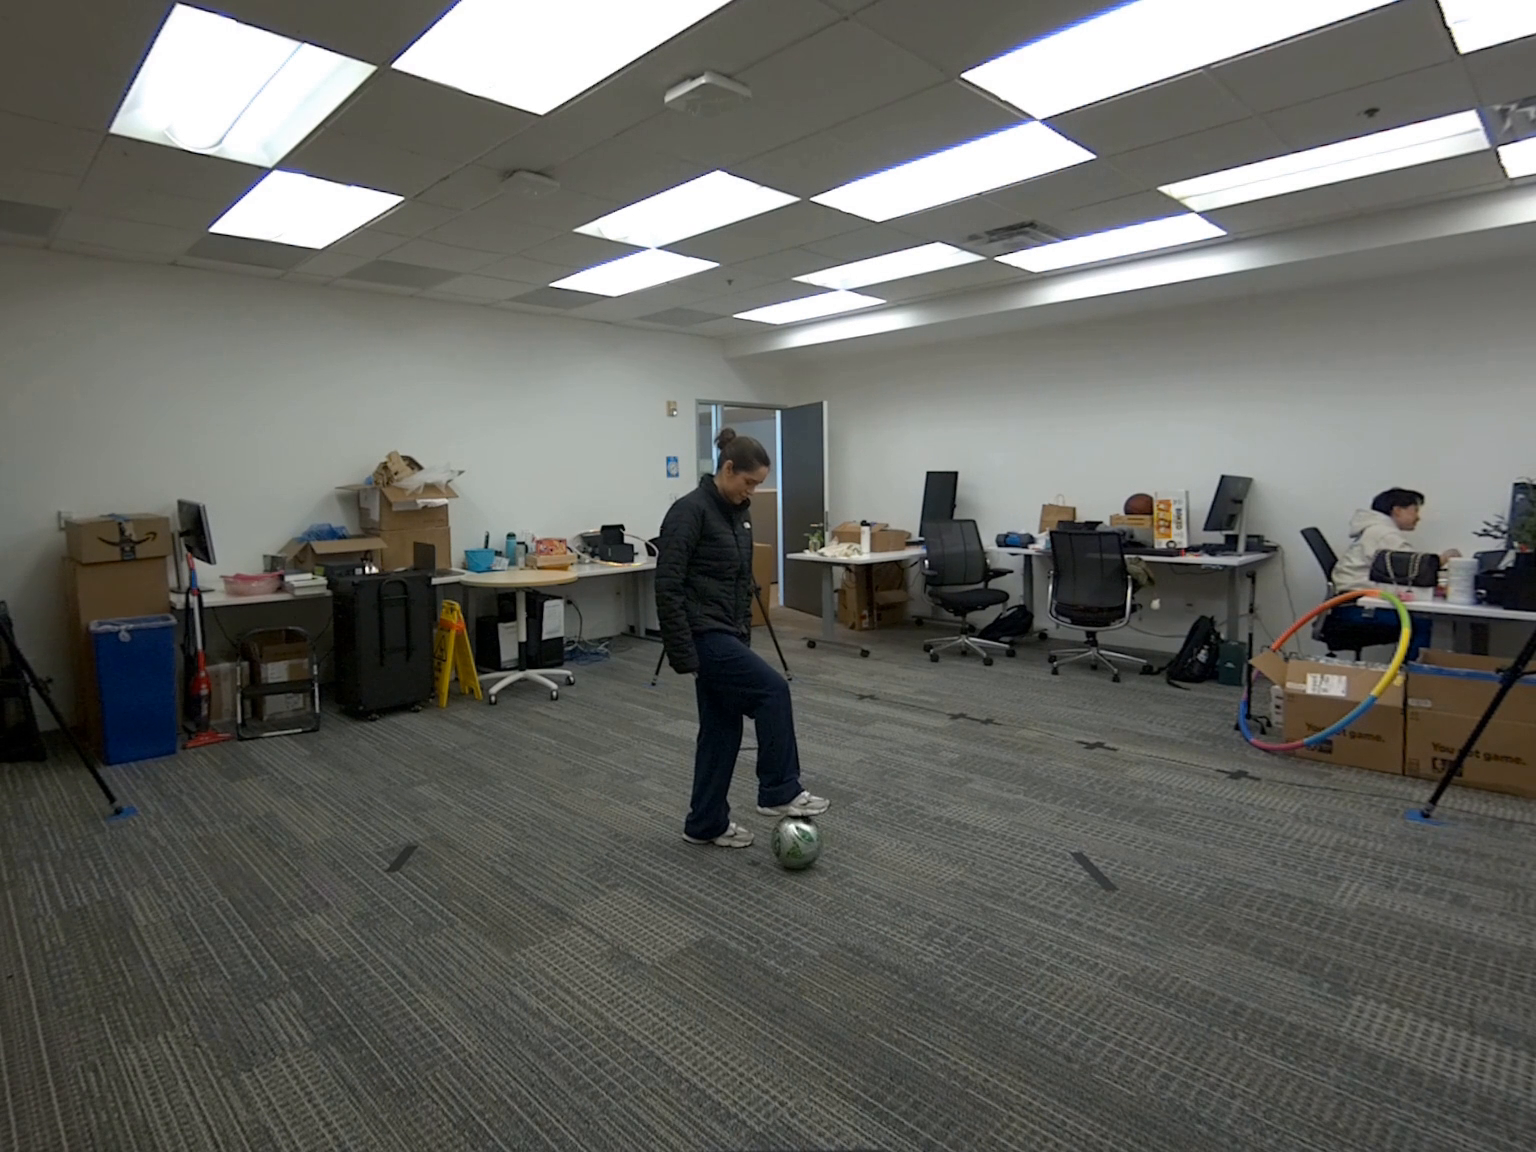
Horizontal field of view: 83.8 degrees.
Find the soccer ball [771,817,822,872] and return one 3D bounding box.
[{"bbox_3d":[0.104,0.955,3.062,0.187,0.187,0.188,-1,5,-2],"label":"soccer ball"}]
